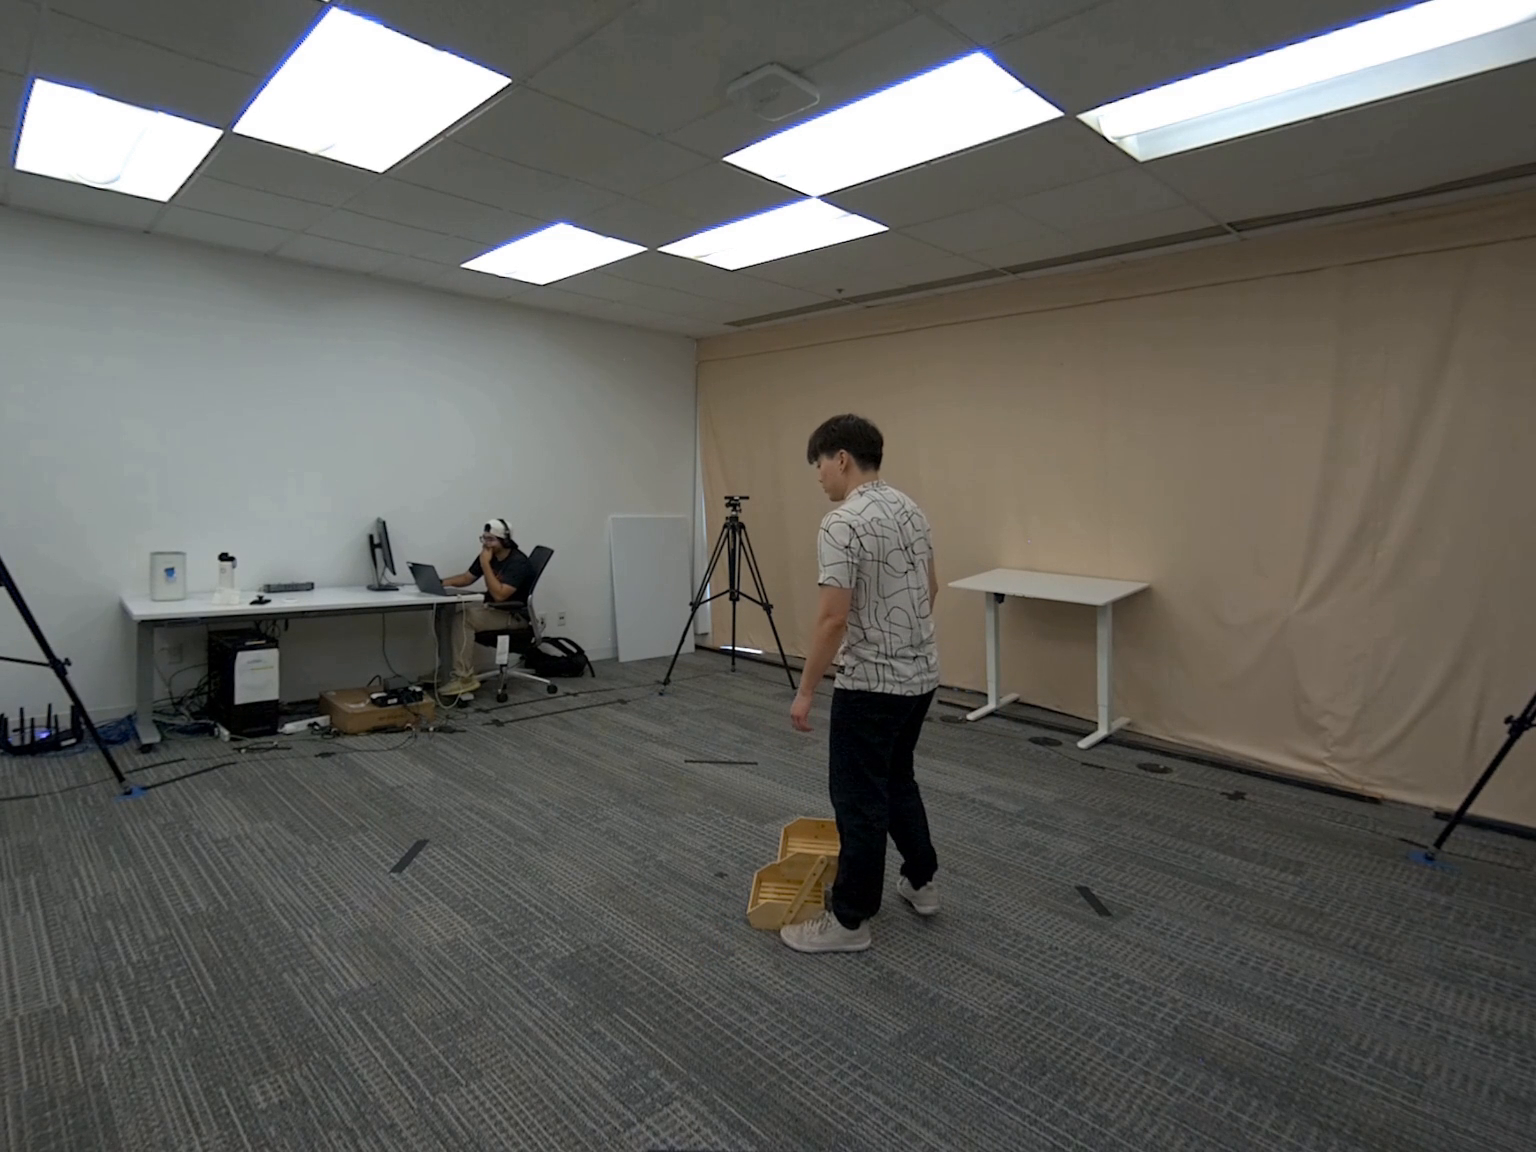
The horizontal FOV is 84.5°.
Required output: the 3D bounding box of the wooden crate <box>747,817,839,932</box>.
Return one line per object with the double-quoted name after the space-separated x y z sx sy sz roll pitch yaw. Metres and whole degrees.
0.086 1.000 2.847 0.303 0.272 0.324 2 5 5 "wooden crate"
